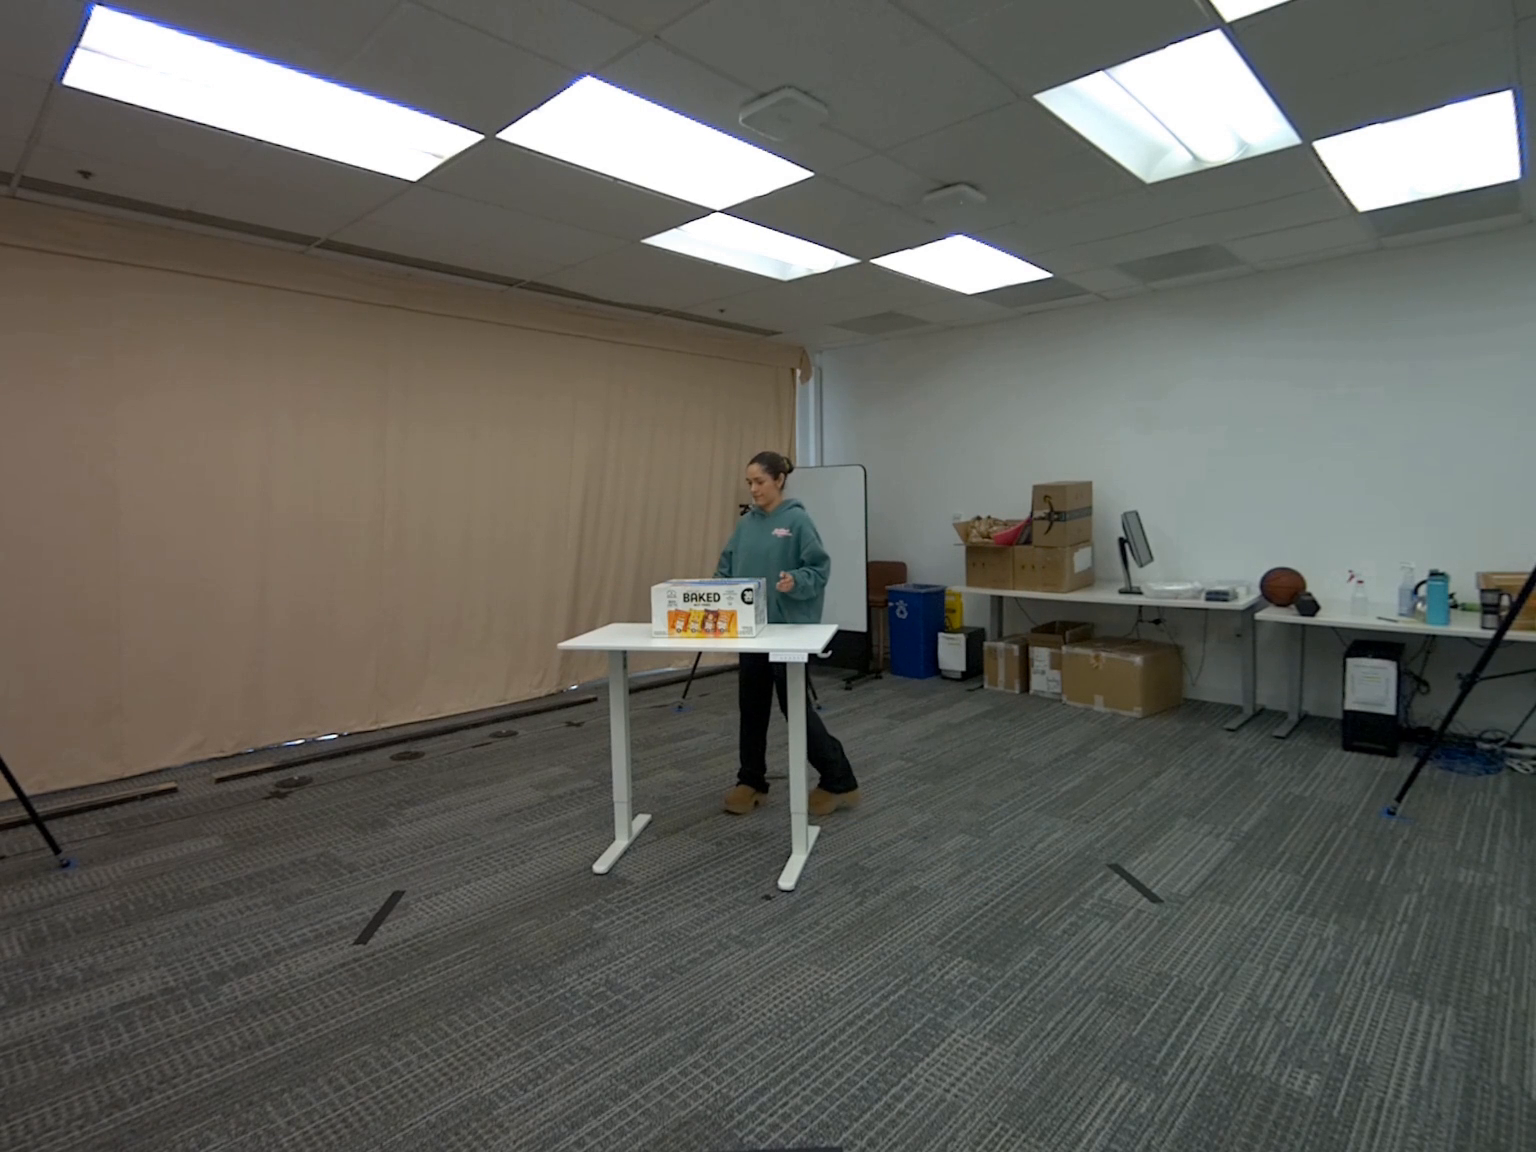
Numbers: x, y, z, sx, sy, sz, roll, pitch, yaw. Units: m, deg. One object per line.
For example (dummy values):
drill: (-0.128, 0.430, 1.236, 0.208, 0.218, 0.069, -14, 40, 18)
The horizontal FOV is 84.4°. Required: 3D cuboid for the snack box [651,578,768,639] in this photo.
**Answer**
snack box: (-0.229, 0.127, 3.415, 0.410, 0.205, 0.337, -1, 4, 10)
